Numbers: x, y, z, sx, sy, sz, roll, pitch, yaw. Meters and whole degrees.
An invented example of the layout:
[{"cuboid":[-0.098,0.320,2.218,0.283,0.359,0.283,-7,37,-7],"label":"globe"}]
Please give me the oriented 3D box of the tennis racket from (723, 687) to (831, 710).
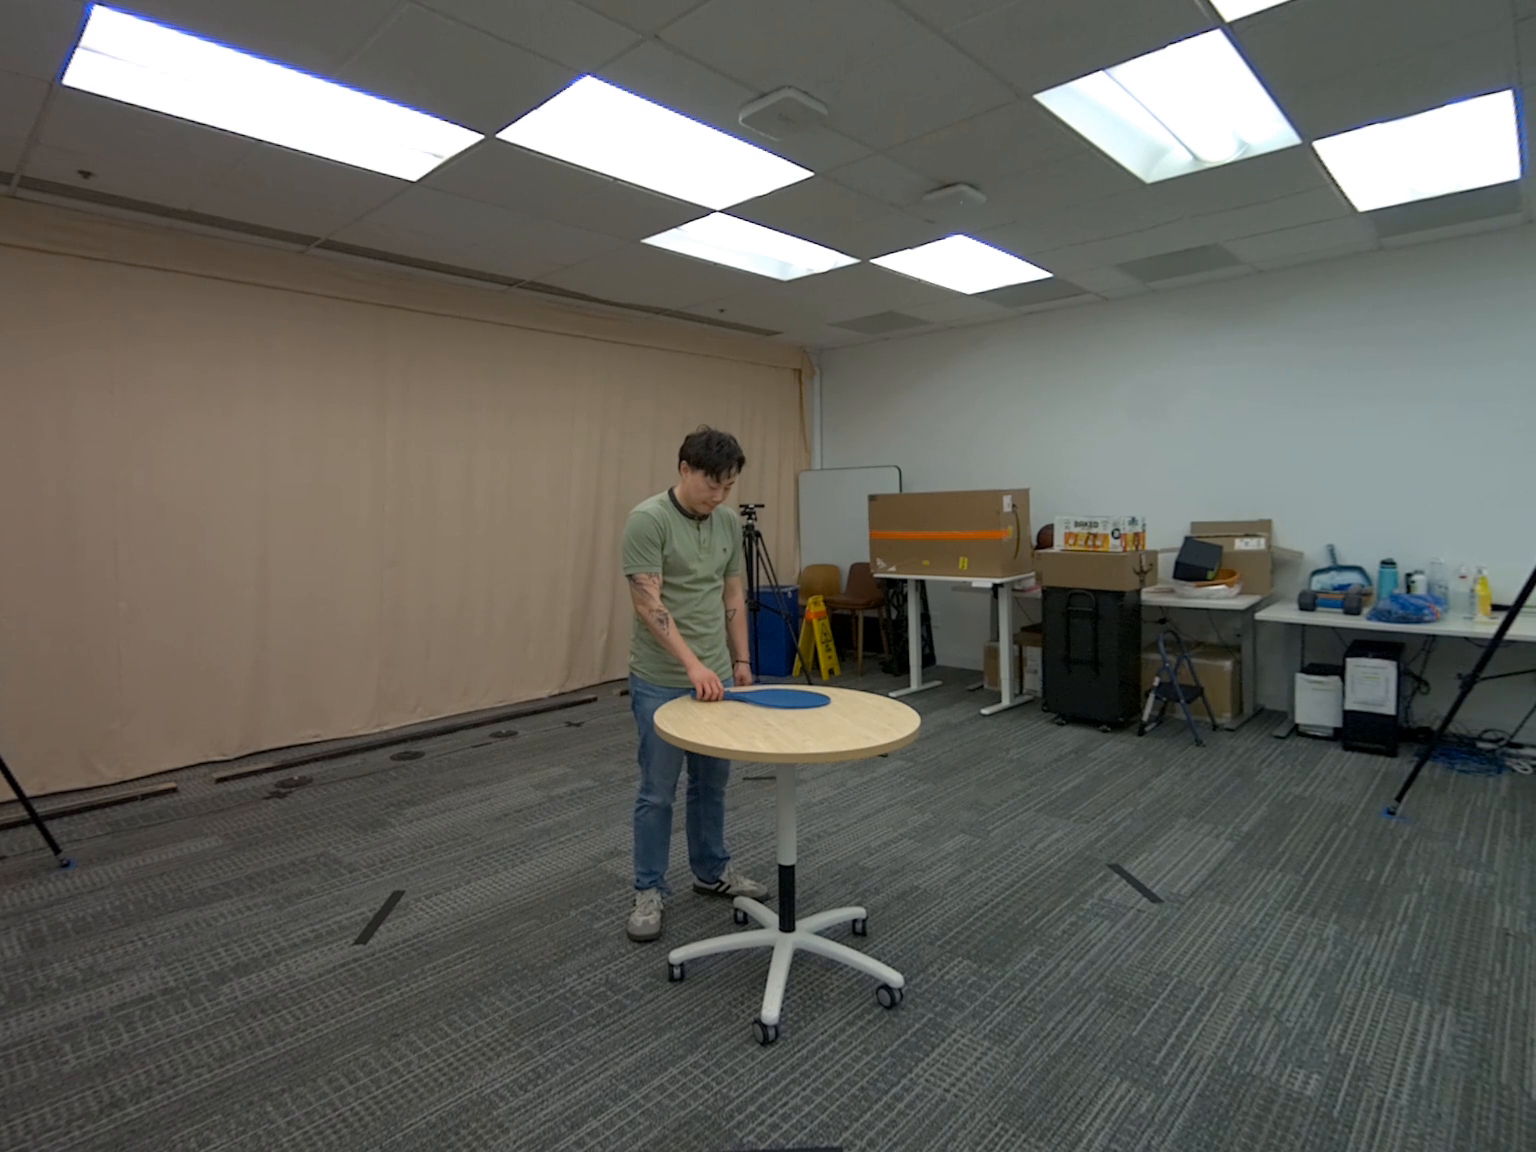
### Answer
[{"cuboid":[-0.024,0.377,2.626,0.439,0.031,0.211,3,6,11],"label":"tennis racket"}]
